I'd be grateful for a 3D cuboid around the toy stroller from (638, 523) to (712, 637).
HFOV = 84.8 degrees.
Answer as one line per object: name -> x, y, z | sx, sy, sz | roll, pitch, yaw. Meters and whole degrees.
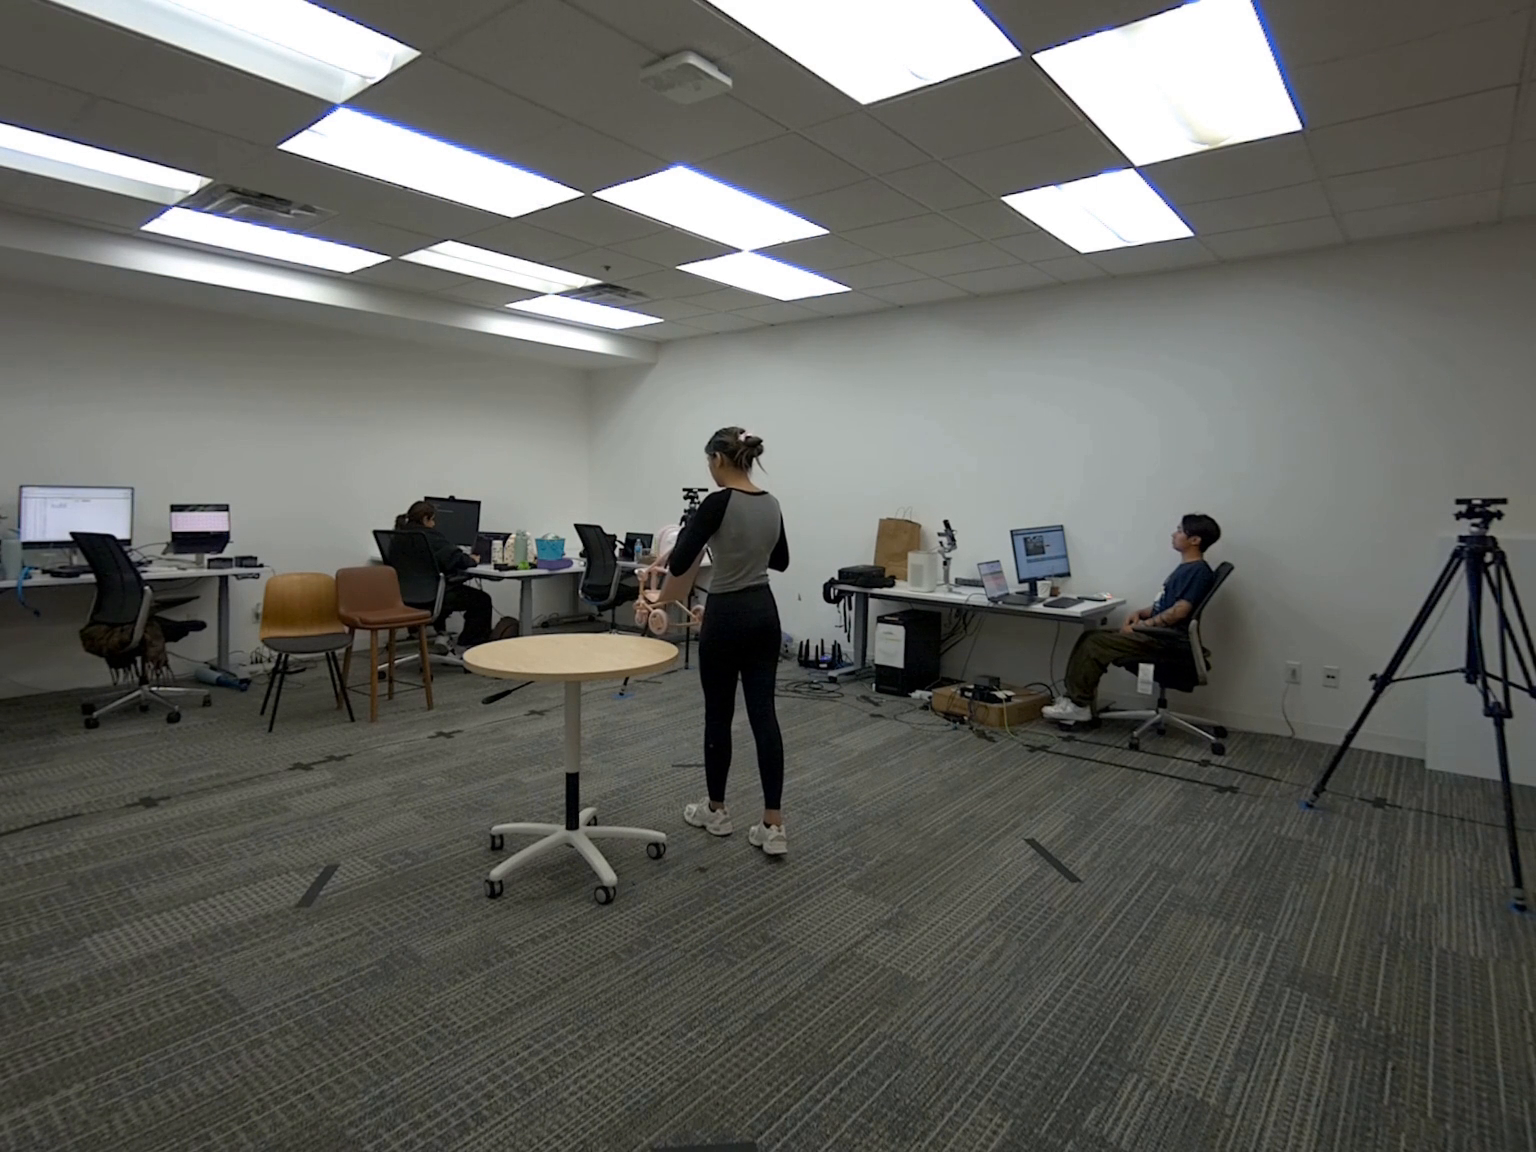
toy stroller -> -0.440, 0.012, 3.723 | 0.272, 0.530, 0.355 | 0, 16, -45
